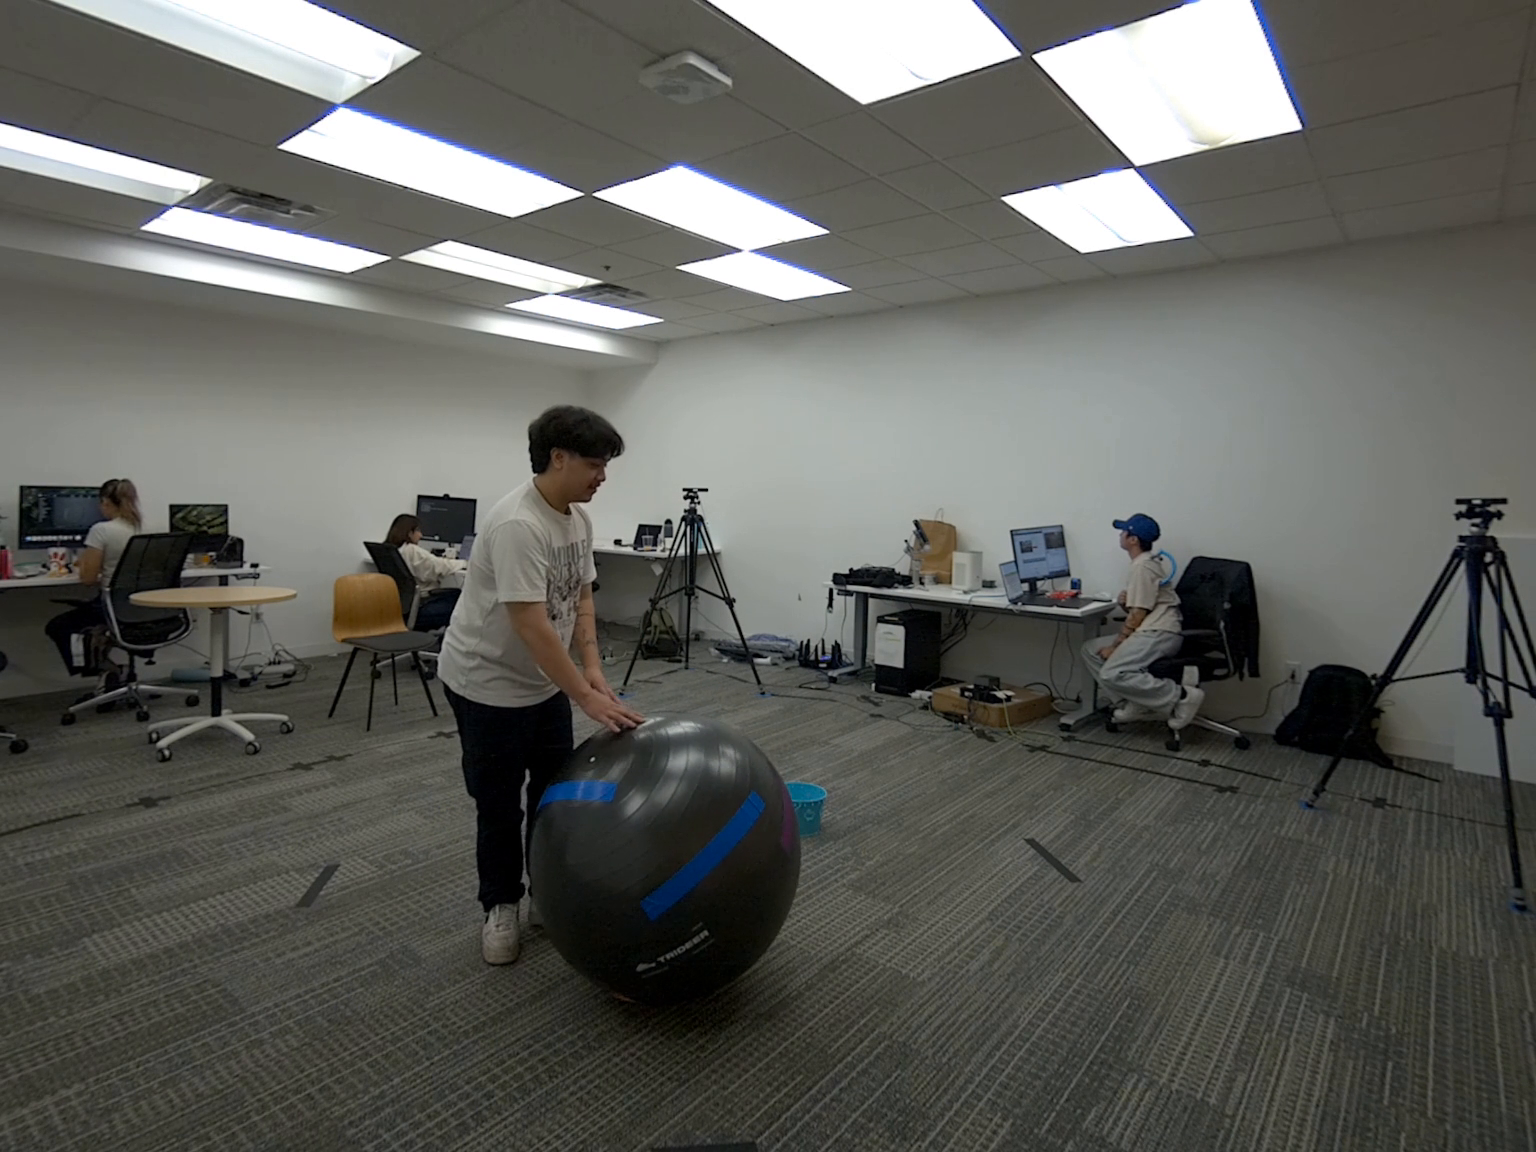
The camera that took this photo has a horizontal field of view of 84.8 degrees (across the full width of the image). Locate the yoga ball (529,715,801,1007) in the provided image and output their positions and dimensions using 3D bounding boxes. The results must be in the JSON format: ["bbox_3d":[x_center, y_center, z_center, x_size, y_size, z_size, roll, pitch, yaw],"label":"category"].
[{"bbox_3d":[-0.288,0.771,2.383,0.757,0.755,0.762,1,4,-2],"label":"yoga ball"}]
